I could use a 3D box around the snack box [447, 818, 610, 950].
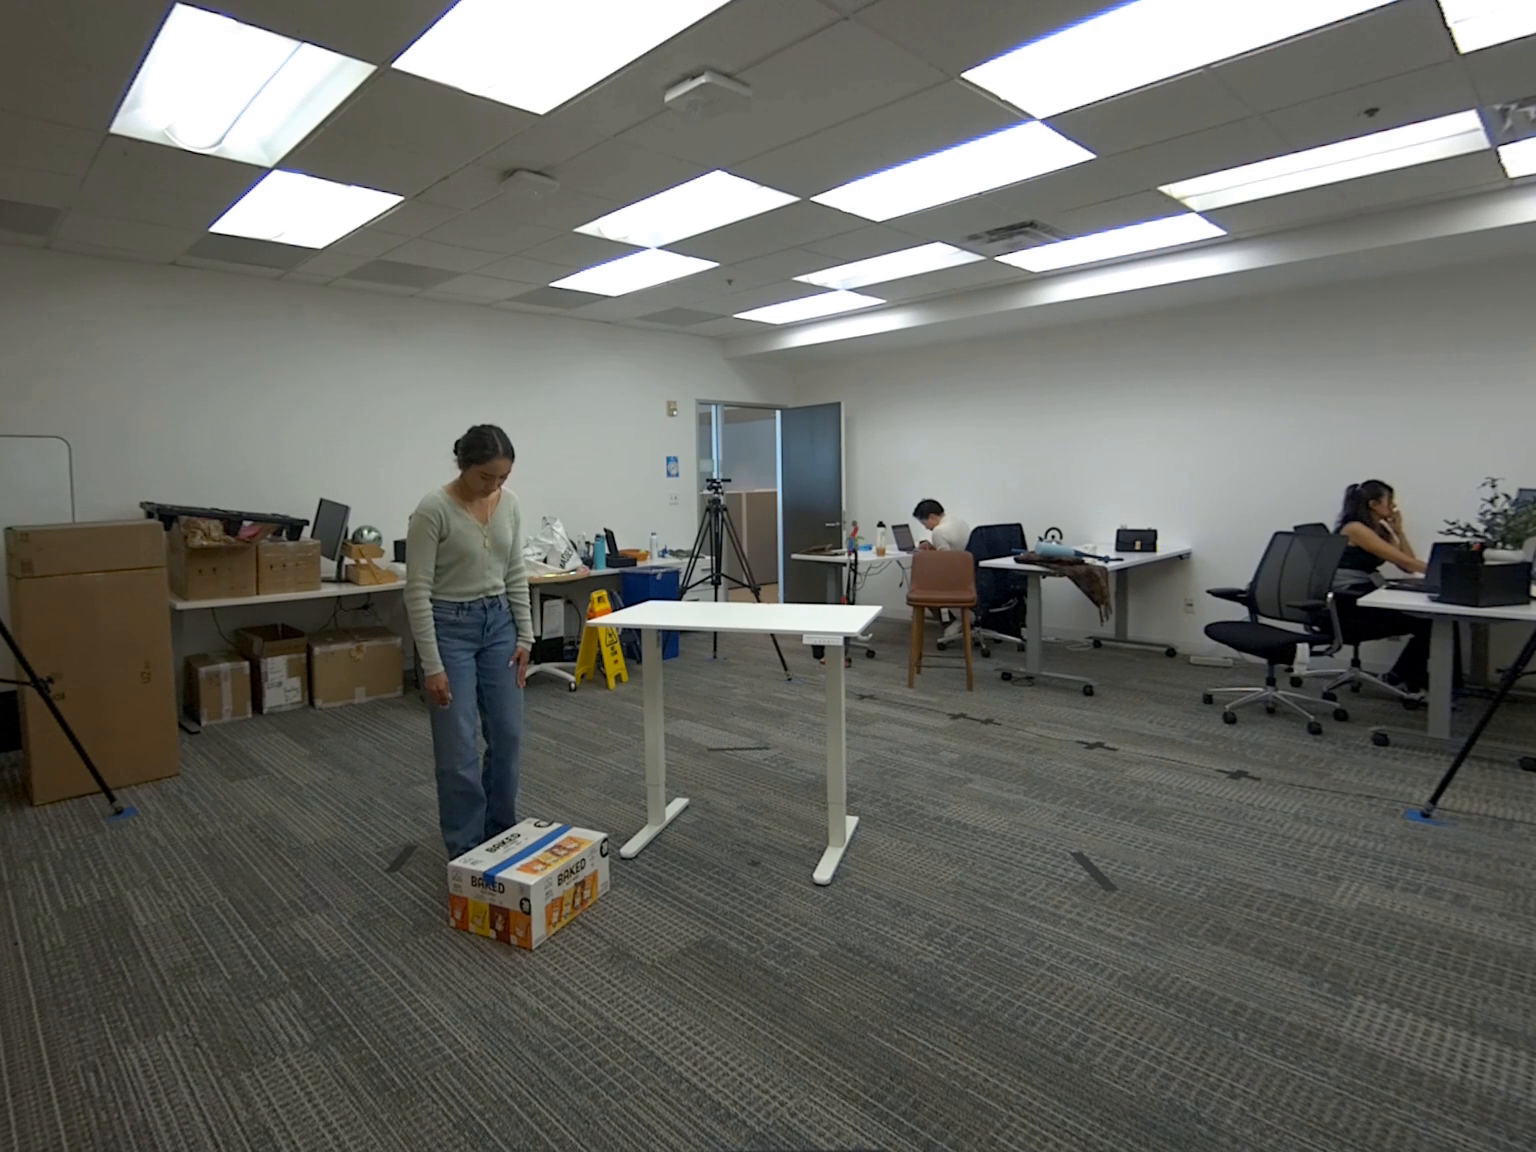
[{"bbox_3d":[-0.774,0.993,2.798,0.348,0.205,0.397,2,7,26],"label":"snack box"}]
